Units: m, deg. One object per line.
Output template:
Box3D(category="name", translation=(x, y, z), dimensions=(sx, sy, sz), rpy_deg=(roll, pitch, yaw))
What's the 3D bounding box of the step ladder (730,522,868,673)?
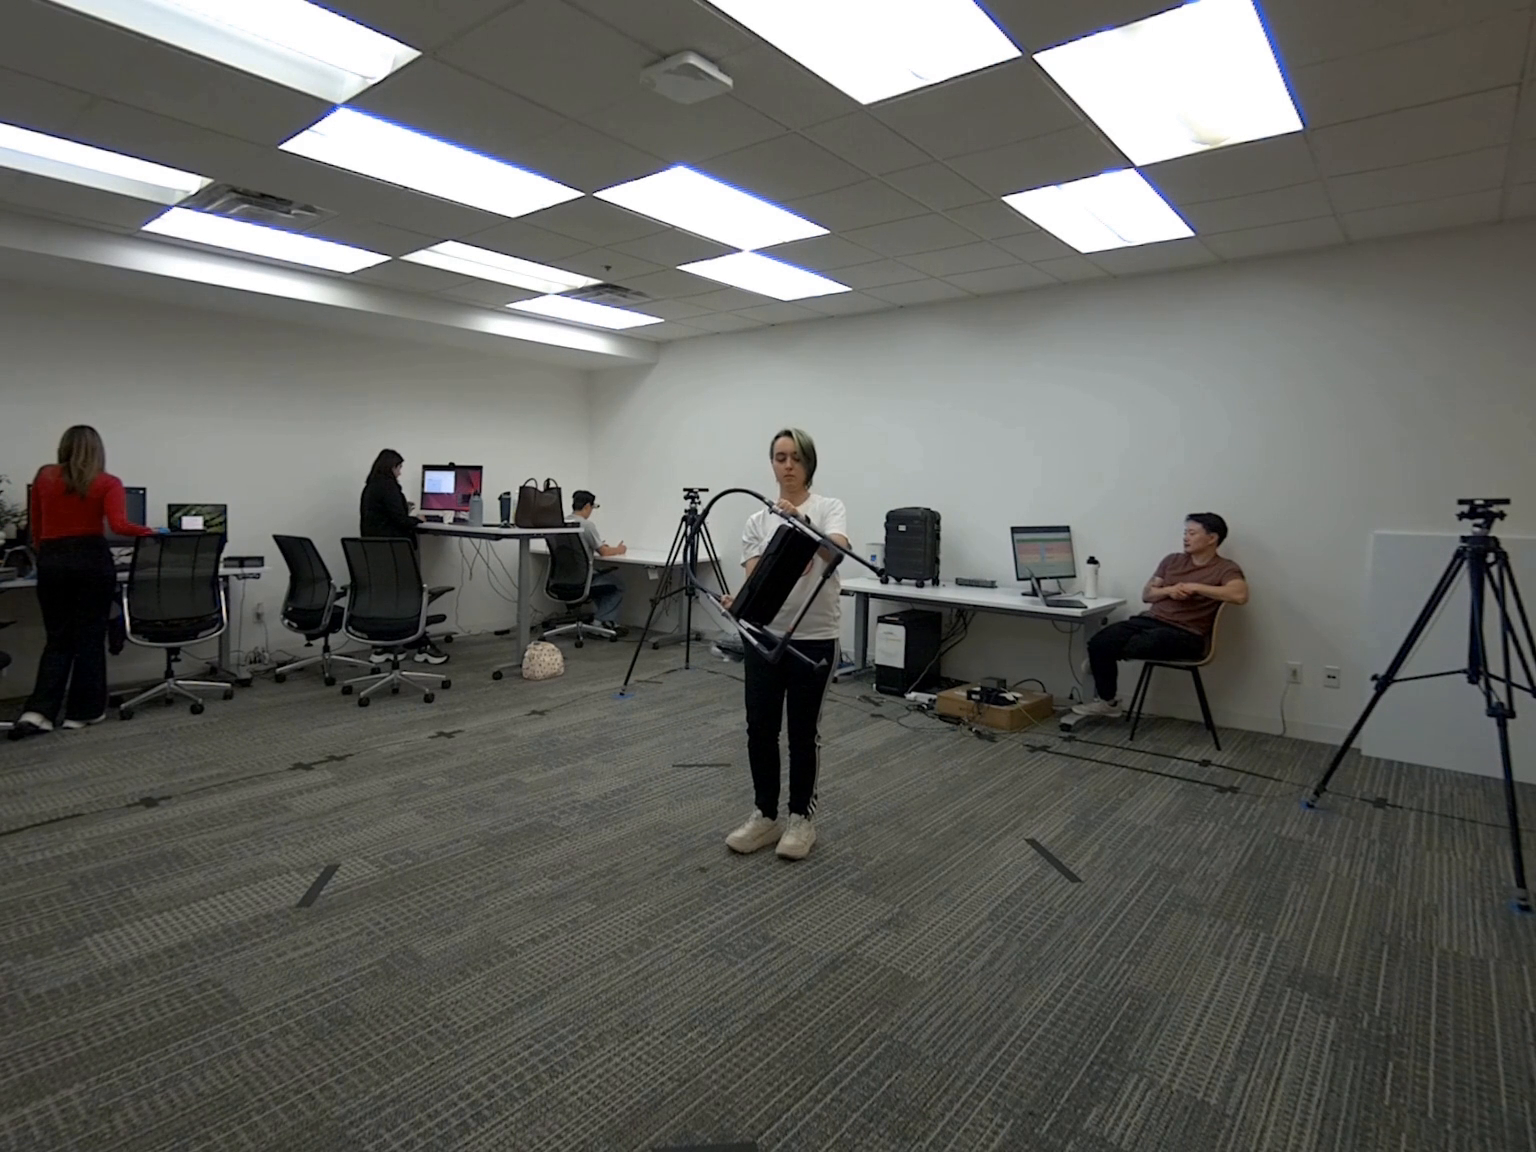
Box3D(category="step ladder", translation=(-0.020, -0.034, 2.953), dimensions=(0.630, 0.429, 0.337), rpy_deg=(37, 9, 31))
